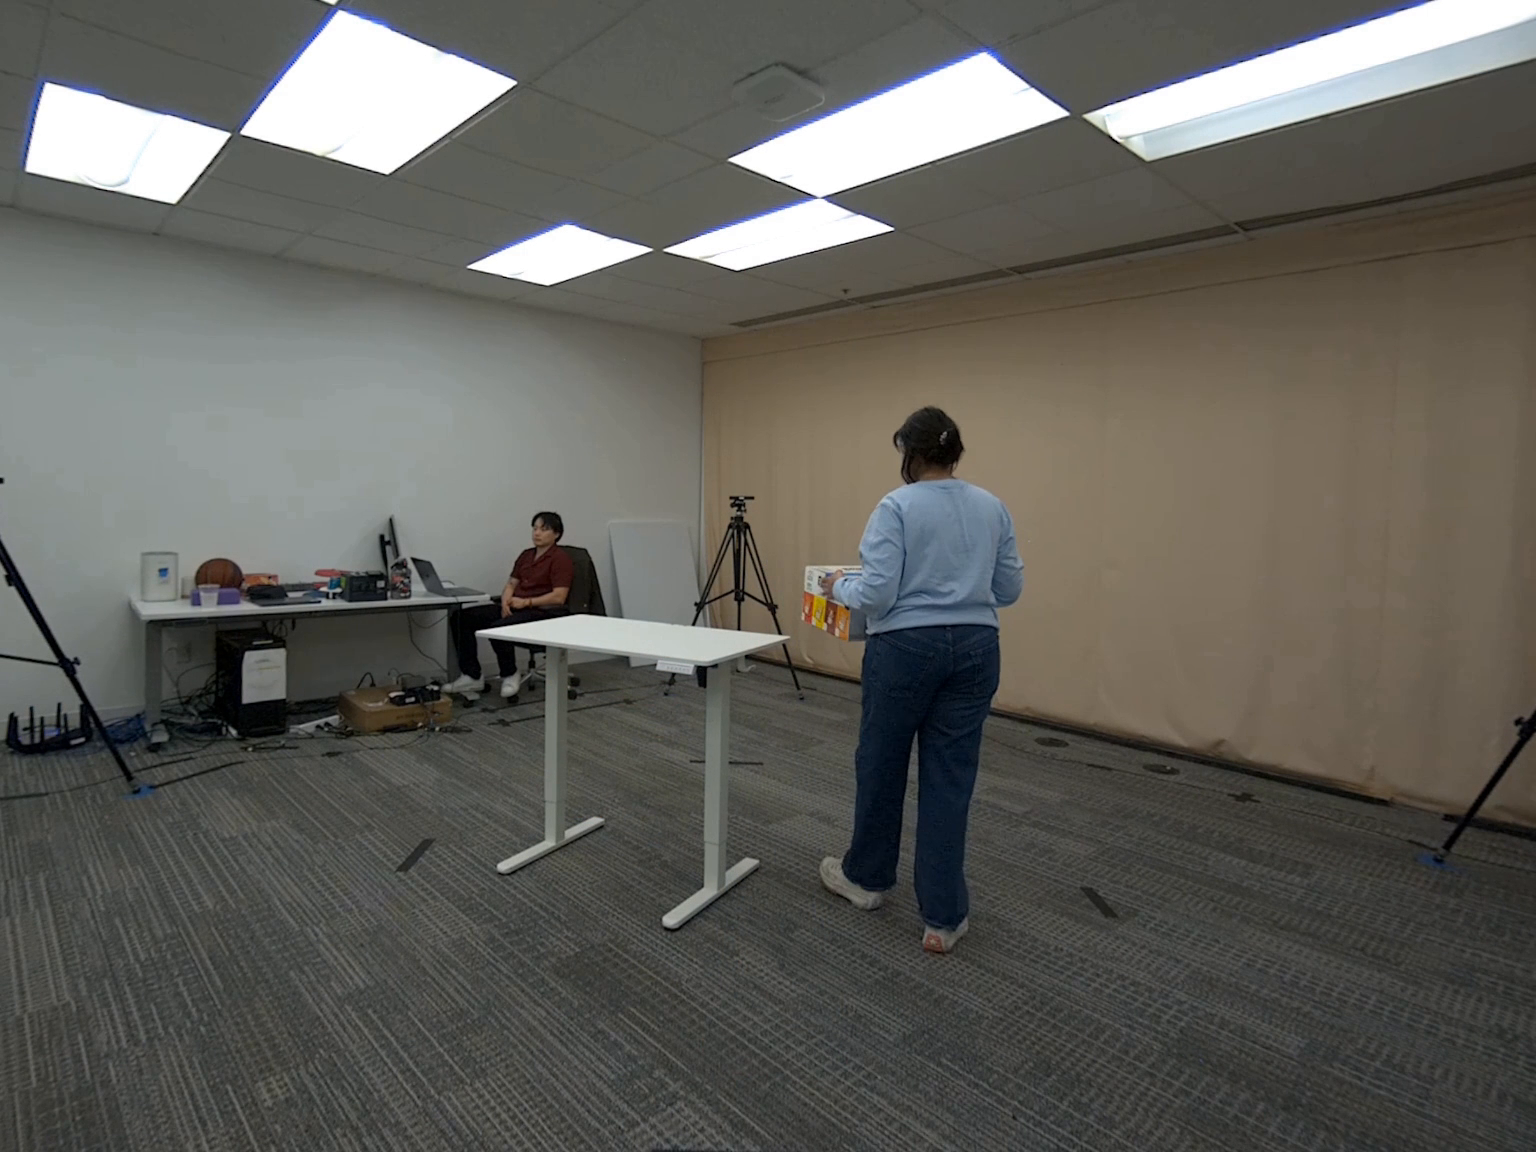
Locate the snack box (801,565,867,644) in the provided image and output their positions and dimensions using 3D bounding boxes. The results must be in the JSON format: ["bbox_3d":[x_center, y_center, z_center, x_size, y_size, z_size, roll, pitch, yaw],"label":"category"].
[{"bbox_3d":[0.383,0.091,3.036,0.398,0.204,0.348,0,9,-24],"label":"snack box"}]
